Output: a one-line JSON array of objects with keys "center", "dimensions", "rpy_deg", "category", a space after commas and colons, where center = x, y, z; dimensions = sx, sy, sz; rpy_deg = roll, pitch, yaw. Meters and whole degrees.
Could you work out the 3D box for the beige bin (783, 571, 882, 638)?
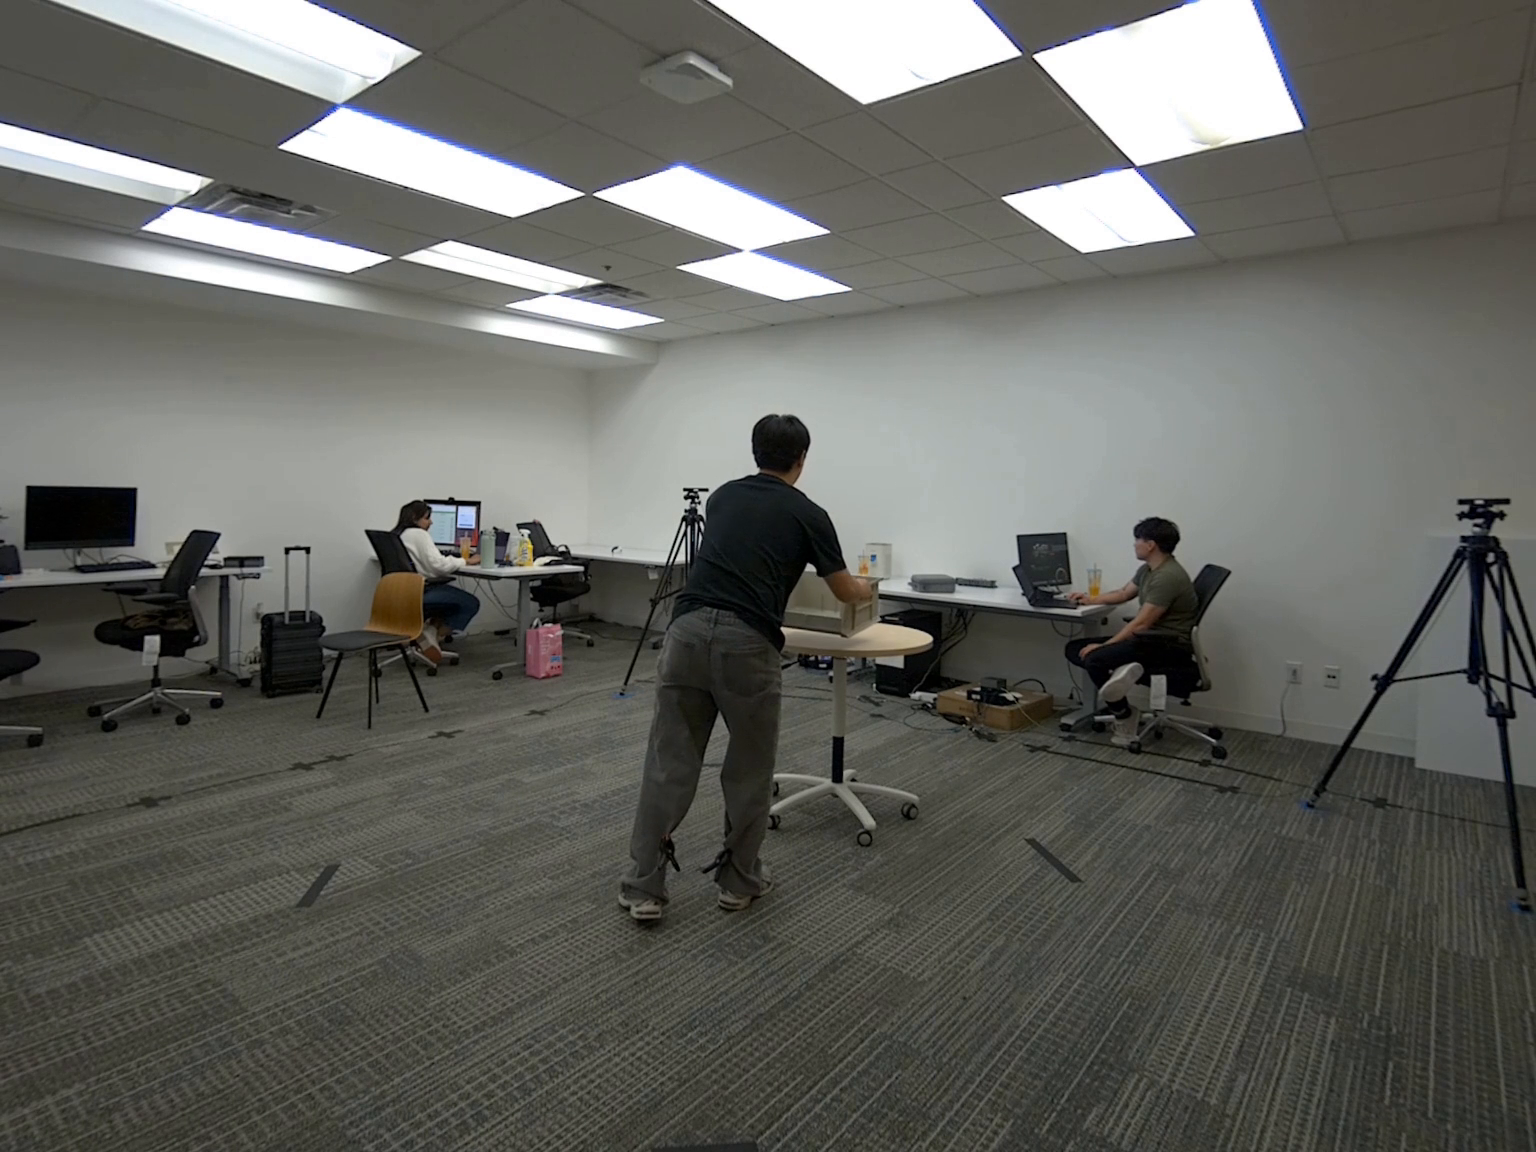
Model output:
[{"center": [0.187, 0.110, 3.455], "dimensions": [0.435, 0.187, 0.368], "rpy_deg": [5, 10, 32], "category": "beige bin"}]
